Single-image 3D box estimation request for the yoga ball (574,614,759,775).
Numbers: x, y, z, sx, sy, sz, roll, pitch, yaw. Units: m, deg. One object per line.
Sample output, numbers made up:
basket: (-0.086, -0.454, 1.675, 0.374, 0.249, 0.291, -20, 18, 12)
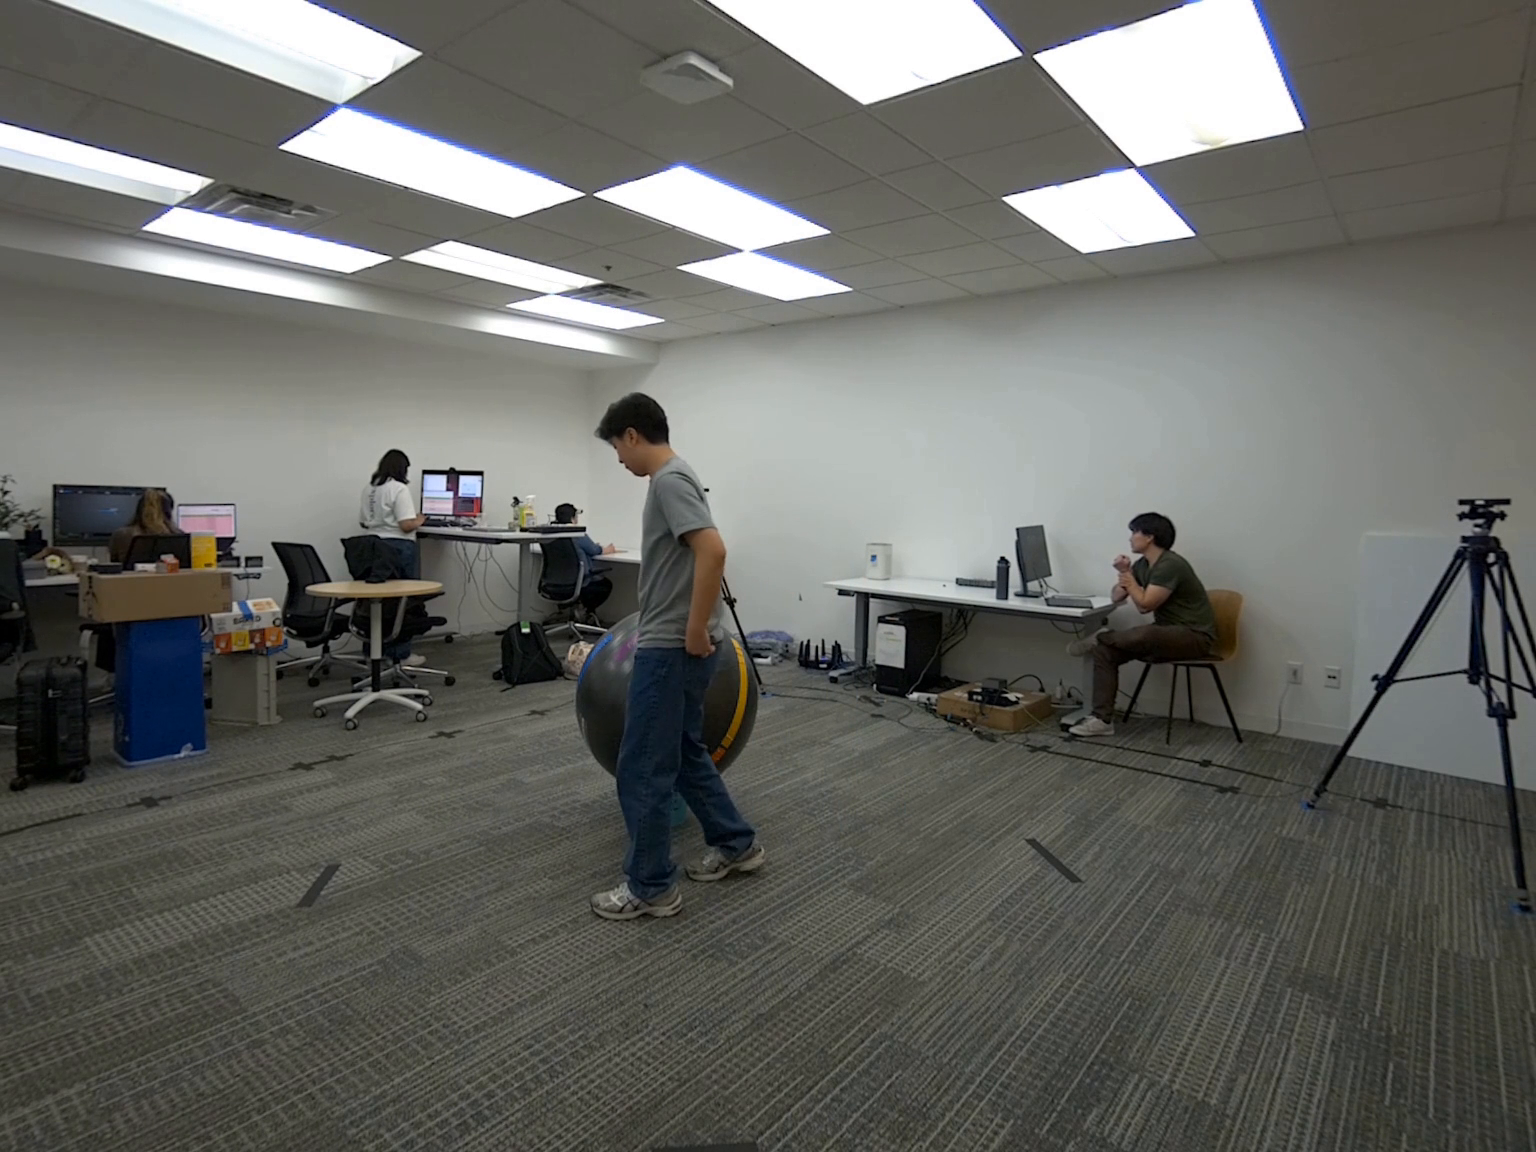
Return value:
yoga ball: (-0.438, 0.514, 3.567, 0.757, 0.755, 0.762, 1, 4, -2)
